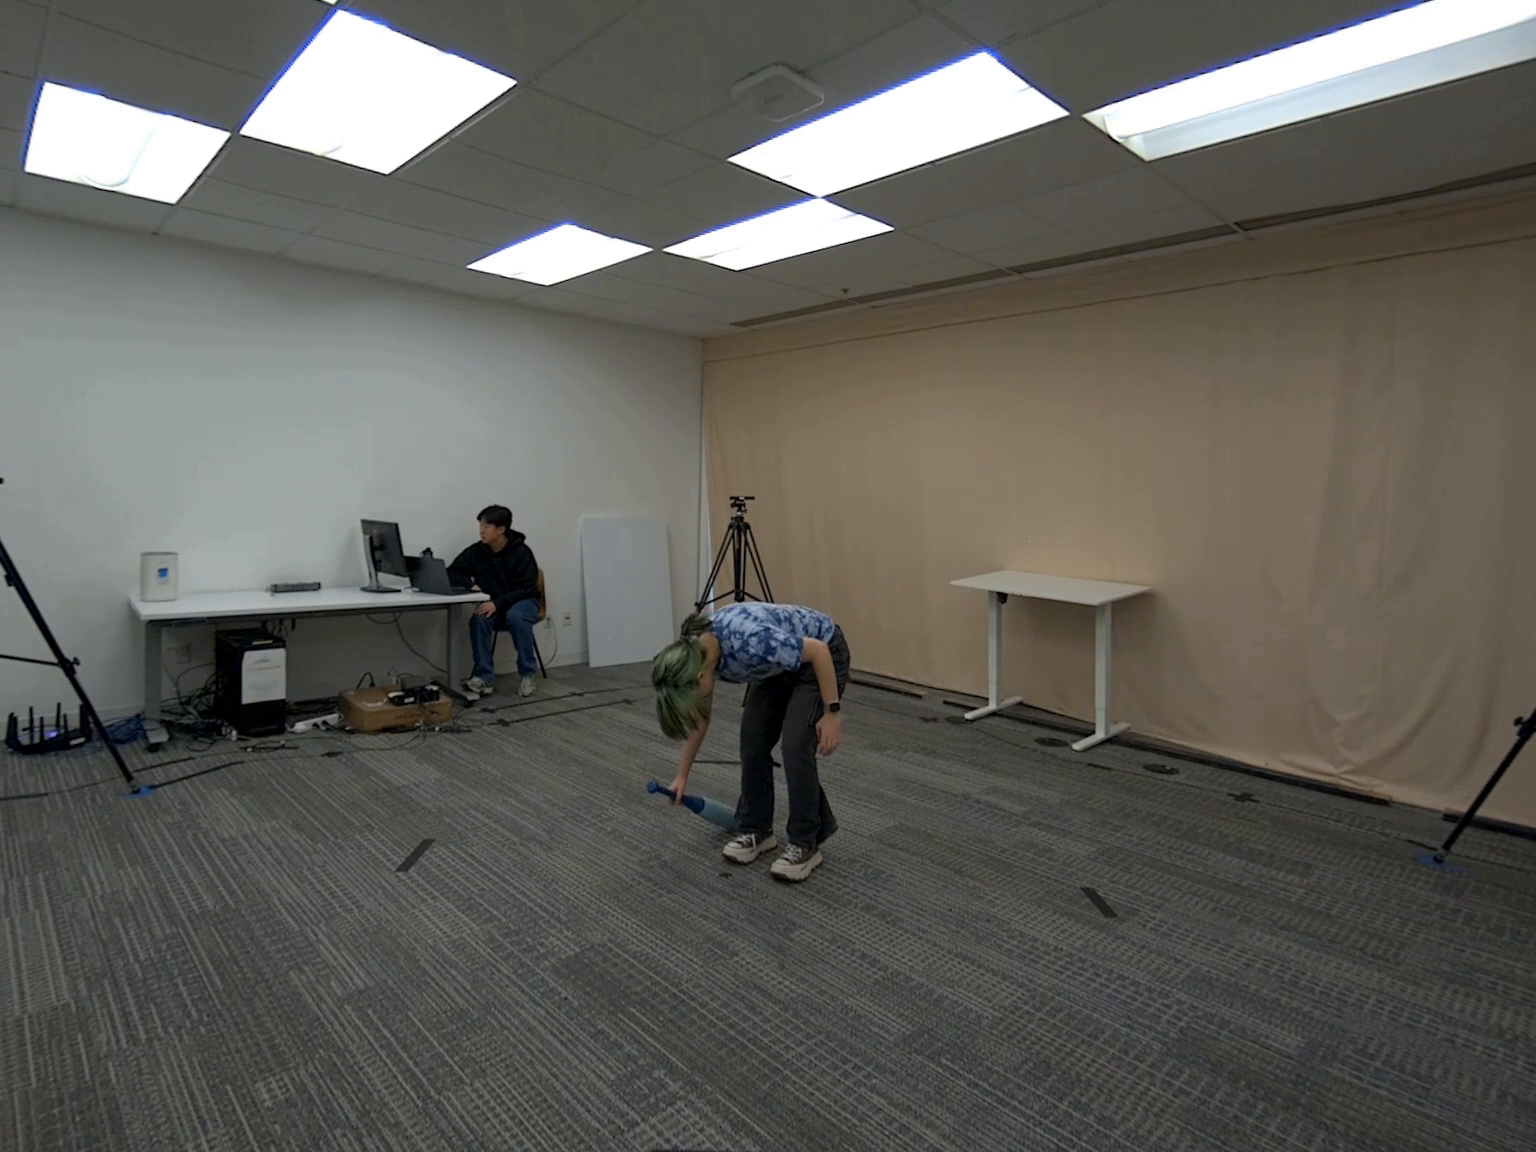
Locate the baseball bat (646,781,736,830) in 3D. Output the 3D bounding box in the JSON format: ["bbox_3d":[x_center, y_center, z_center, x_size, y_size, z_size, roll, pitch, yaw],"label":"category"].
[{"bbox_3d":[-0.292,0.911,3.364,0.091,0.089,0.526,6,-22,46],"label":"baseball bat"}]
